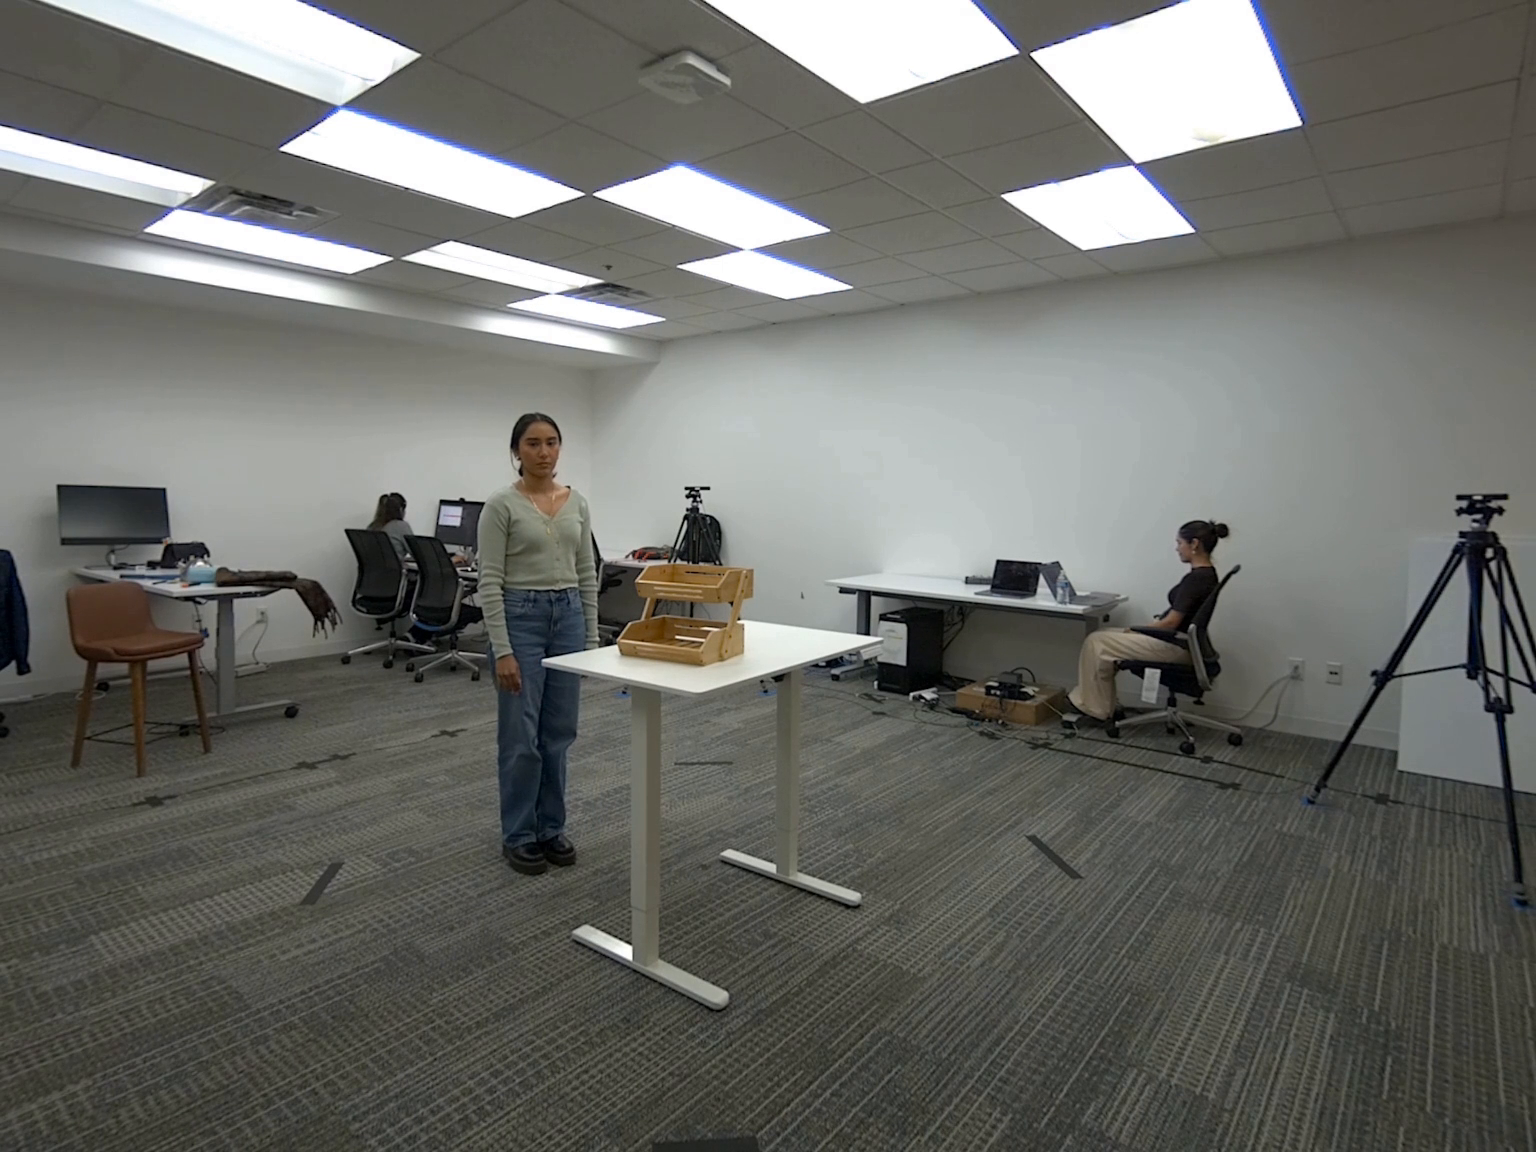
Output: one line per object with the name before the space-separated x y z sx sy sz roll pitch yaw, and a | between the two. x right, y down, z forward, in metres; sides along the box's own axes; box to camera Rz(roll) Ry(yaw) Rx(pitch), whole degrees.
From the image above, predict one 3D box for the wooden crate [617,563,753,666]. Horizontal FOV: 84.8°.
wooden crate | -0.259 0.104 2.591 0.334 0.272 0.294 4 5 29
